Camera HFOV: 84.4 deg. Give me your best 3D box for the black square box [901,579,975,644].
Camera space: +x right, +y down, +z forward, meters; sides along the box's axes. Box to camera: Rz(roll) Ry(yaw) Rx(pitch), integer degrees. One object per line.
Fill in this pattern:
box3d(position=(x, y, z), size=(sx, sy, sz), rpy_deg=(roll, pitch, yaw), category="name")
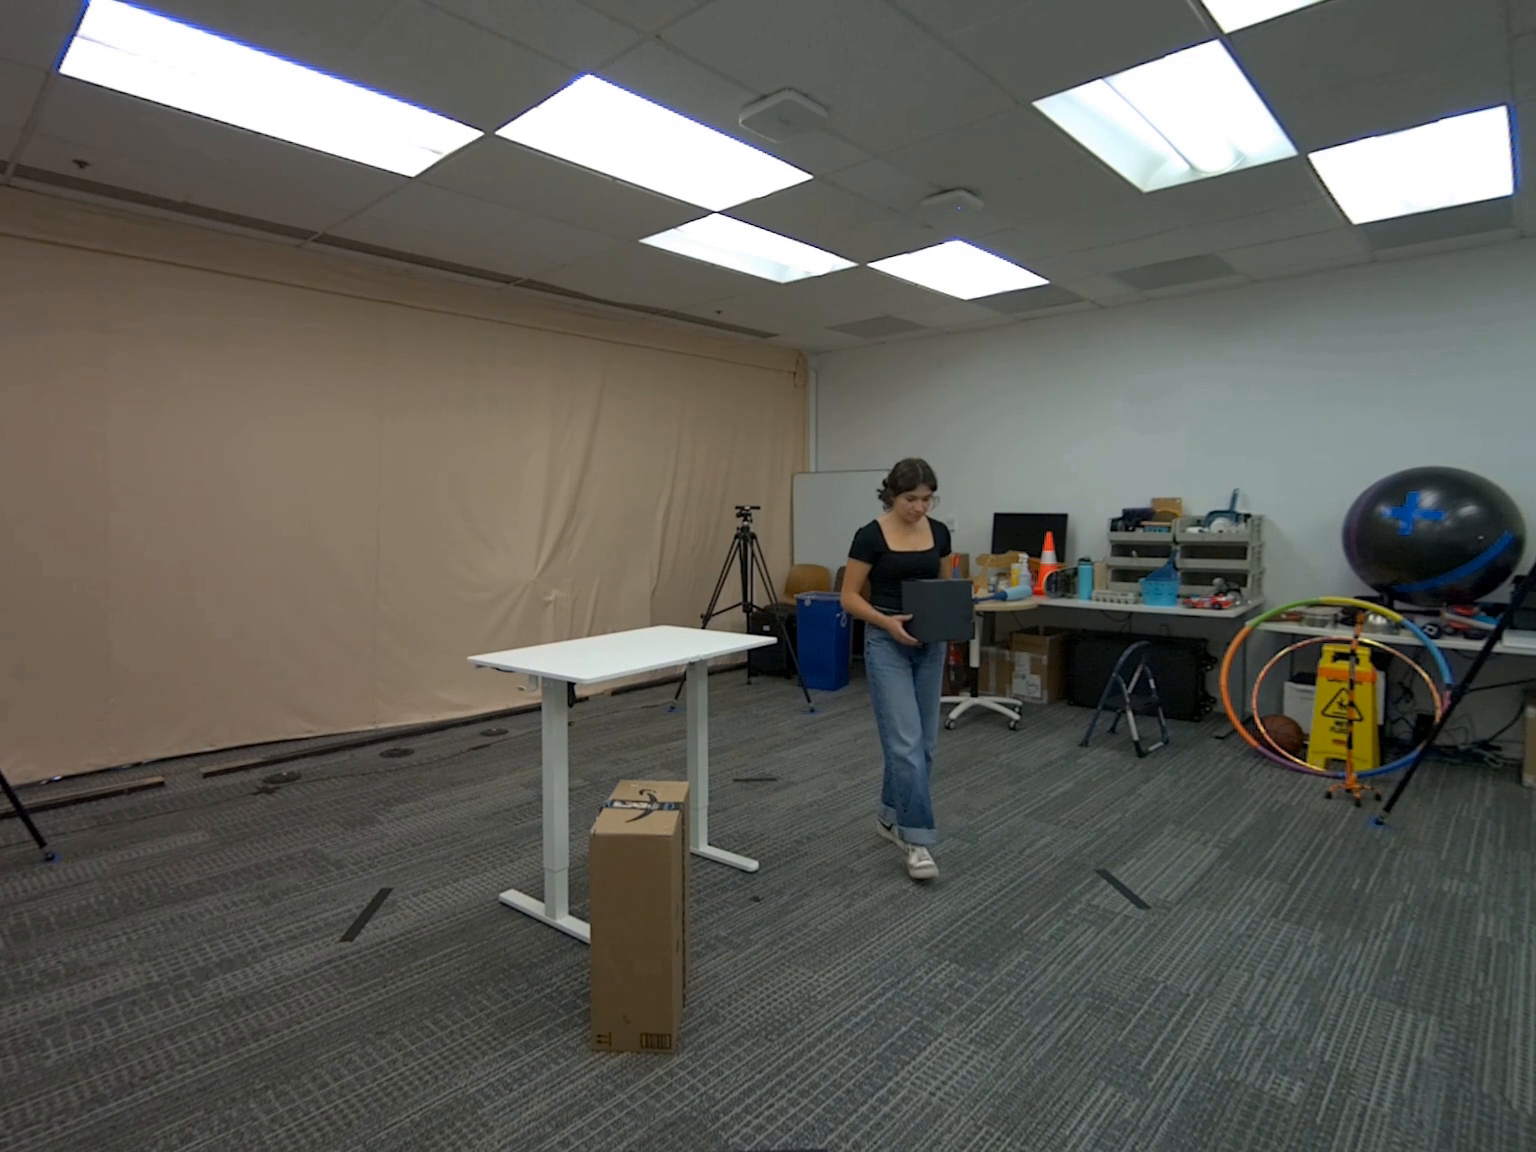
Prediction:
box3d(position=(0.649, 0.127, 3.182), size=(0.215, 0.228, 0.157), rpy_deg=(-1, -1, -9), category="black square box")
